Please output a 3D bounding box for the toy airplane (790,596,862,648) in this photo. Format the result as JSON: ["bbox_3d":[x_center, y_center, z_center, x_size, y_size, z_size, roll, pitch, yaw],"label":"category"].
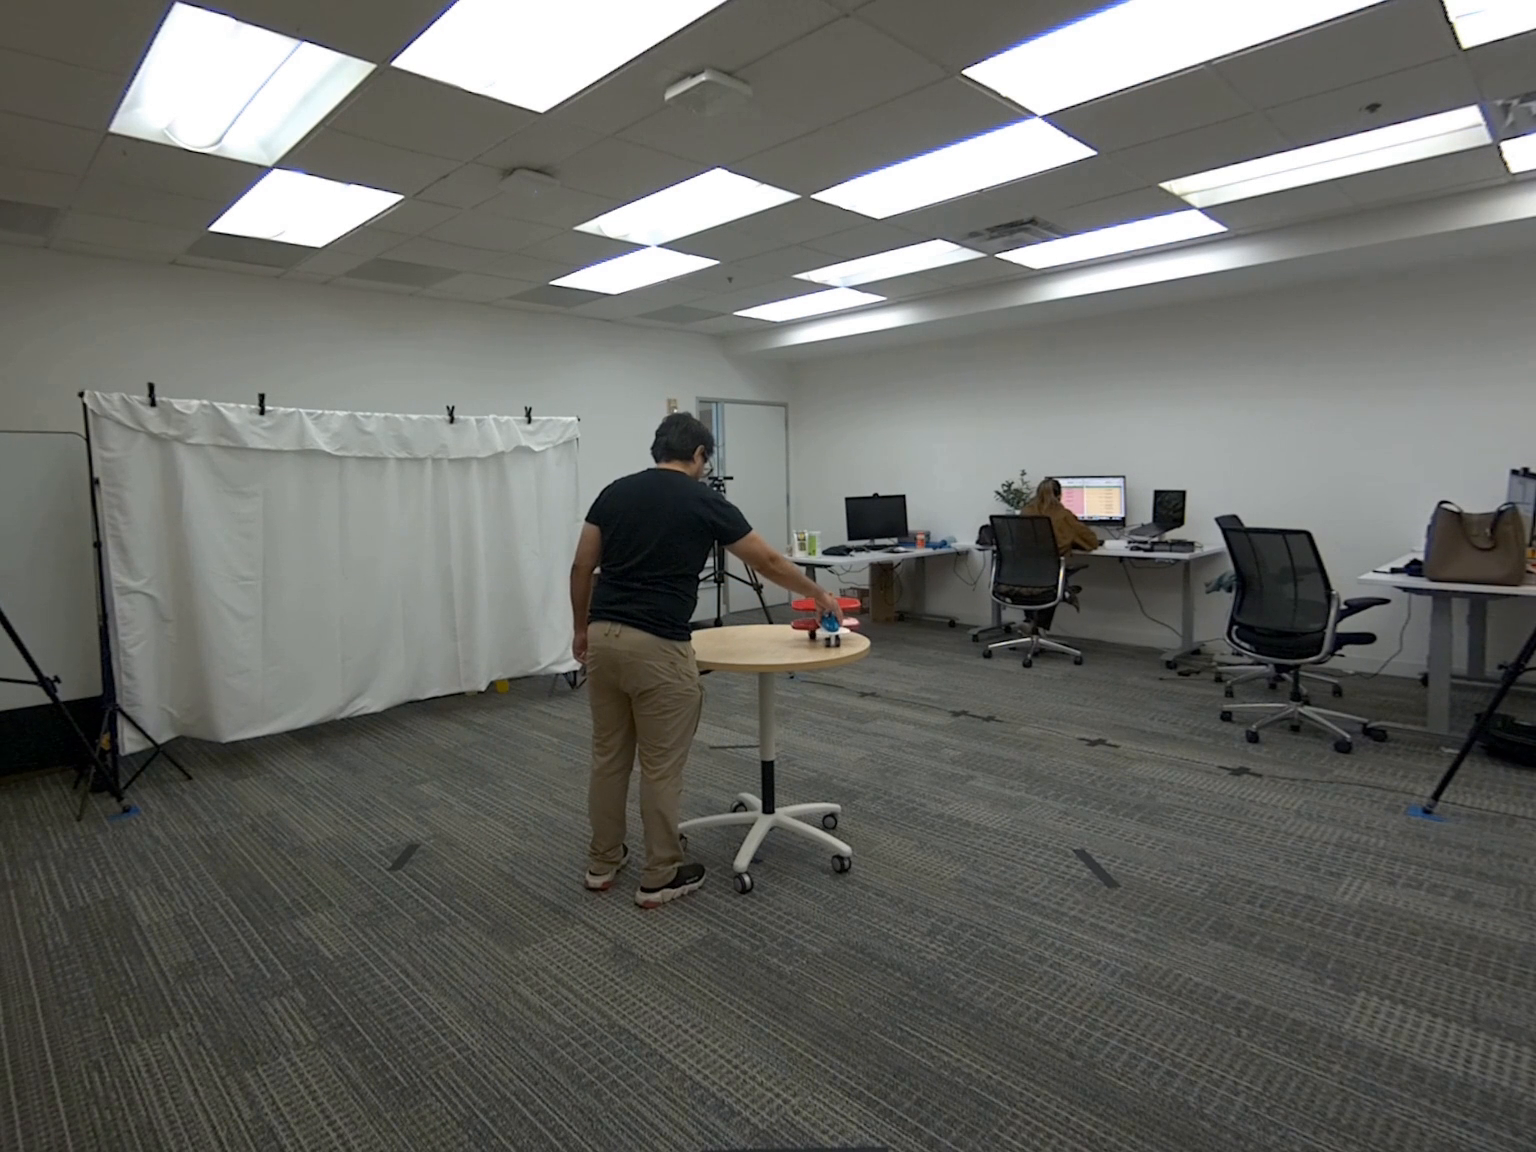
[{"bbox_3d":[0.240,0.168,3.127,0.245,0.156,0.266,-5,6,-32],"label":"toy airplane"}]
